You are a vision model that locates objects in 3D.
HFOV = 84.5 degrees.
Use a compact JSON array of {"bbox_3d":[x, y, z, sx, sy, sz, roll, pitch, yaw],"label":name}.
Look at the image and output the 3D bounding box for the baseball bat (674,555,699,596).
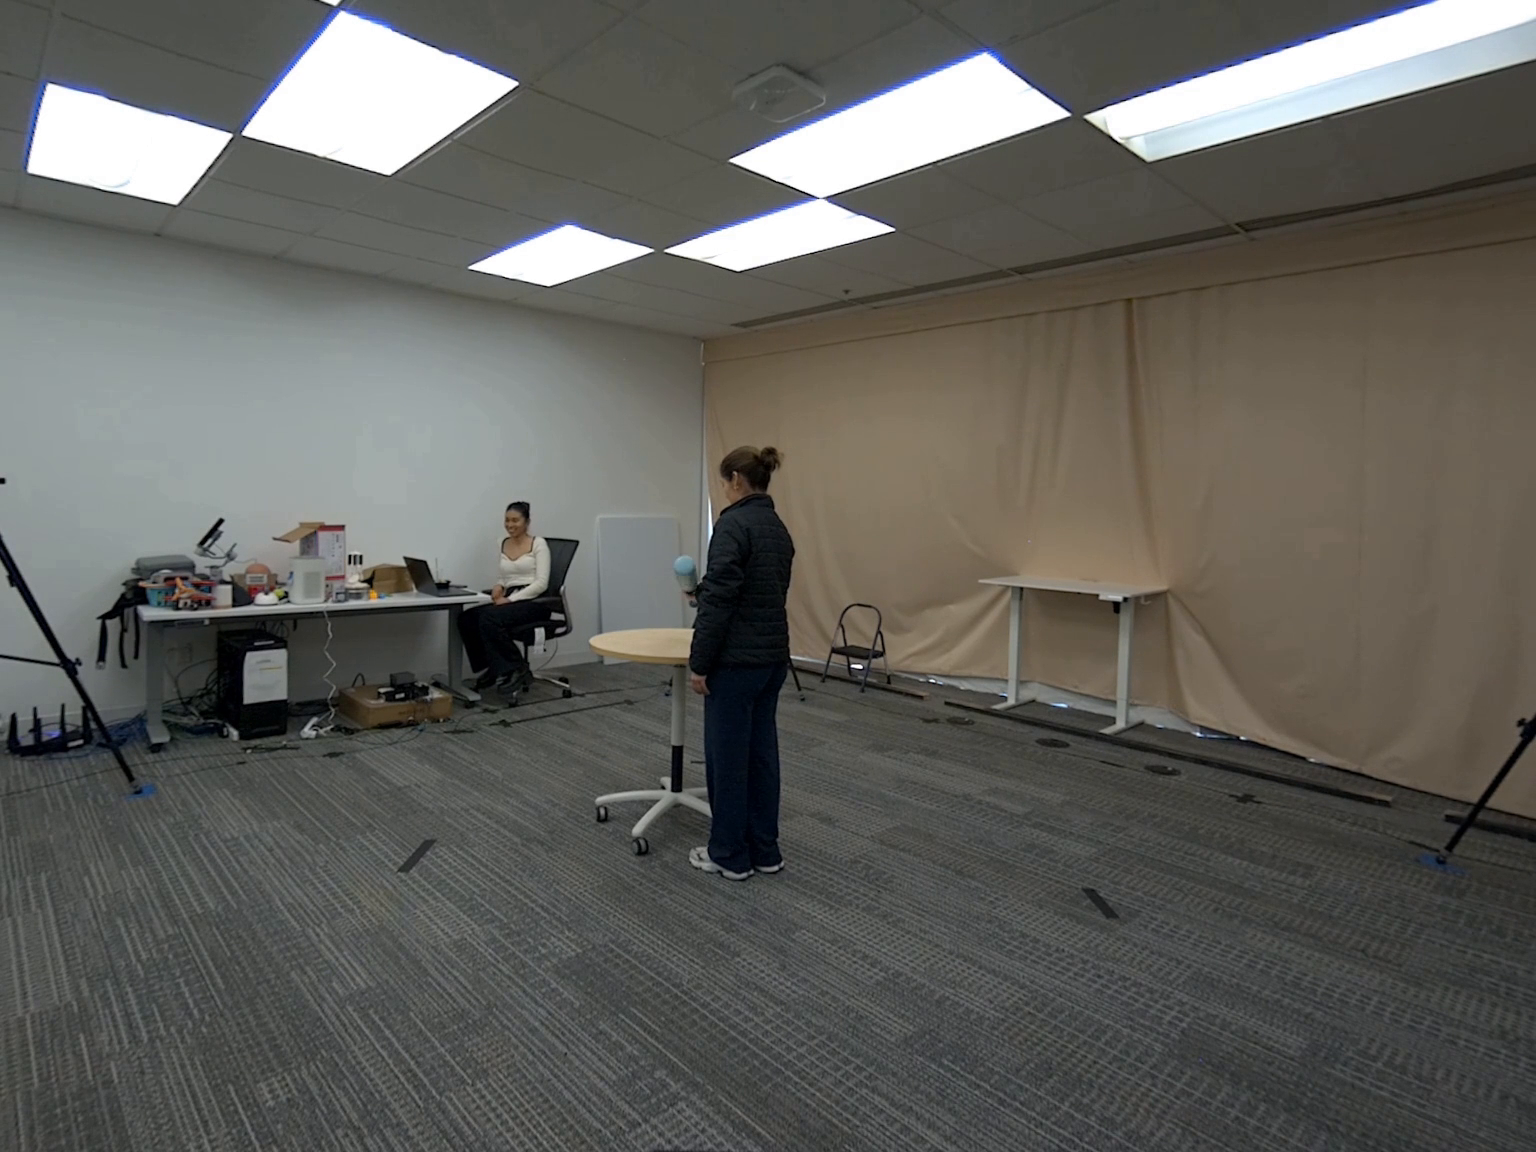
[{"bbox_3d":[-0.341,0.043,3.574,0.089,0.090,0.535,2,-18,1],"label":"baseball bat"}]
